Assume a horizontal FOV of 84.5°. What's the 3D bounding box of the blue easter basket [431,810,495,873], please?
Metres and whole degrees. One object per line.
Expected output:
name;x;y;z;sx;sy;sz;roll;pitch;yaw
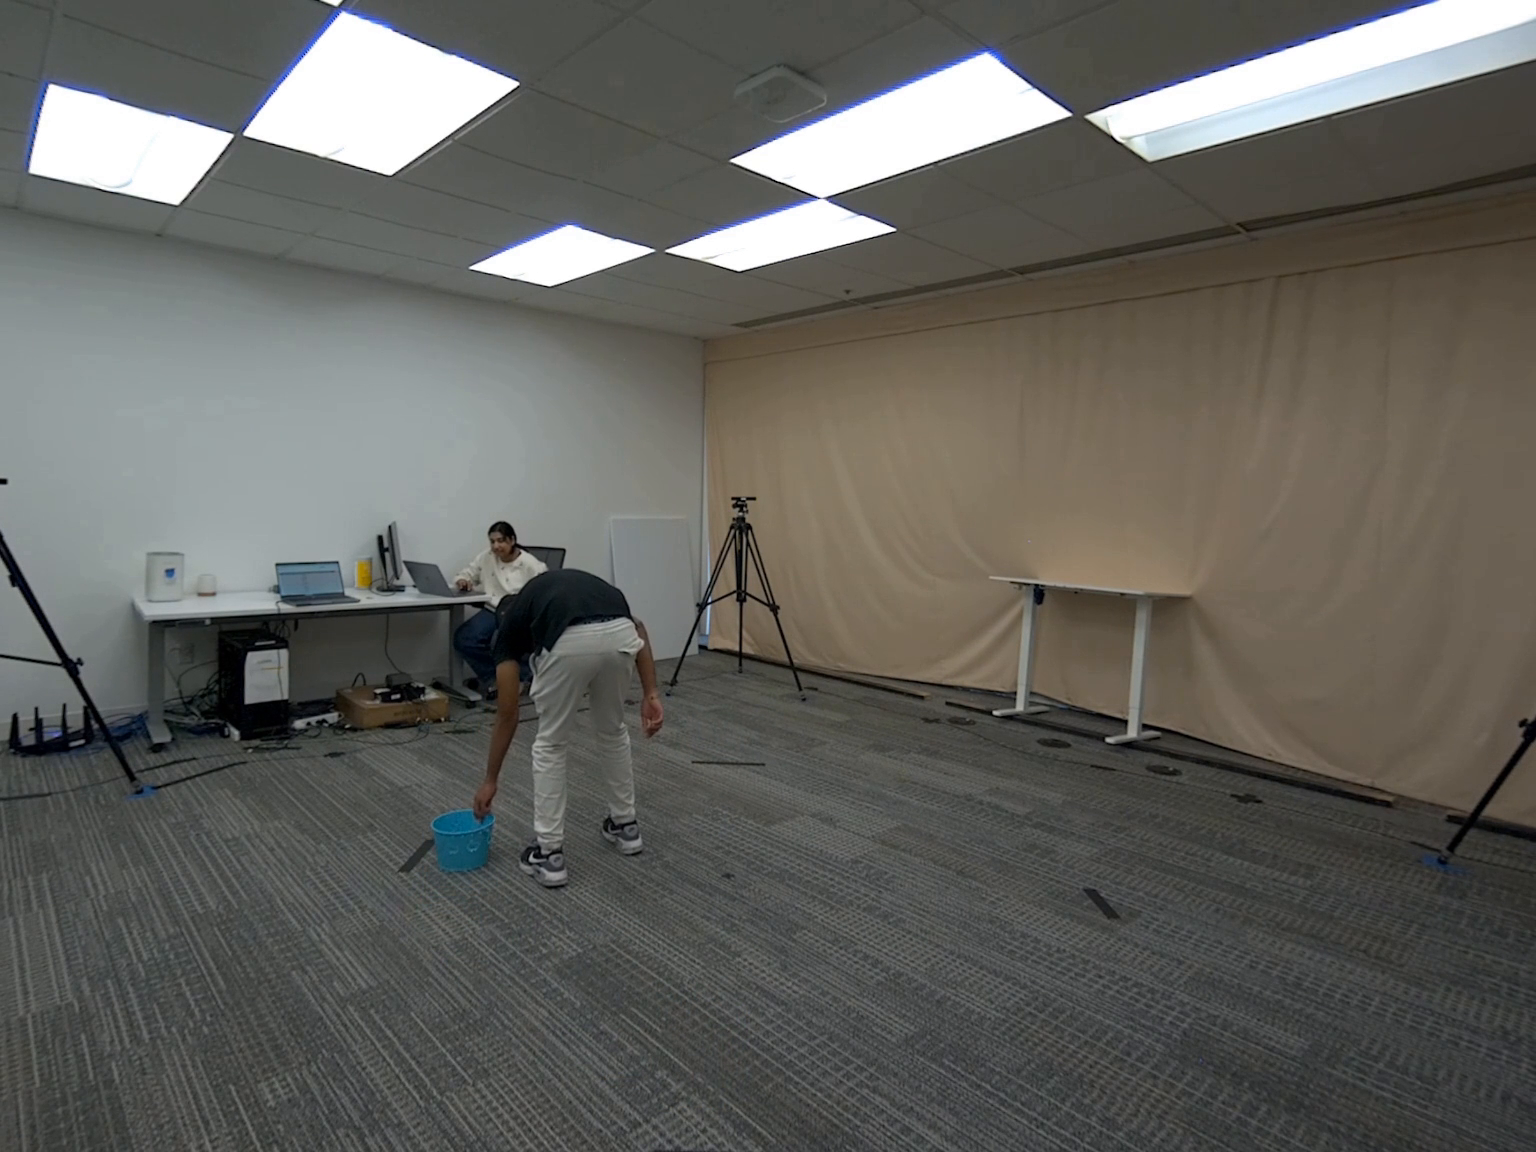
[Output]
blue easter basket;-1.150;1.000;3.181;0.243;0.155;0.244;1;5;-1
